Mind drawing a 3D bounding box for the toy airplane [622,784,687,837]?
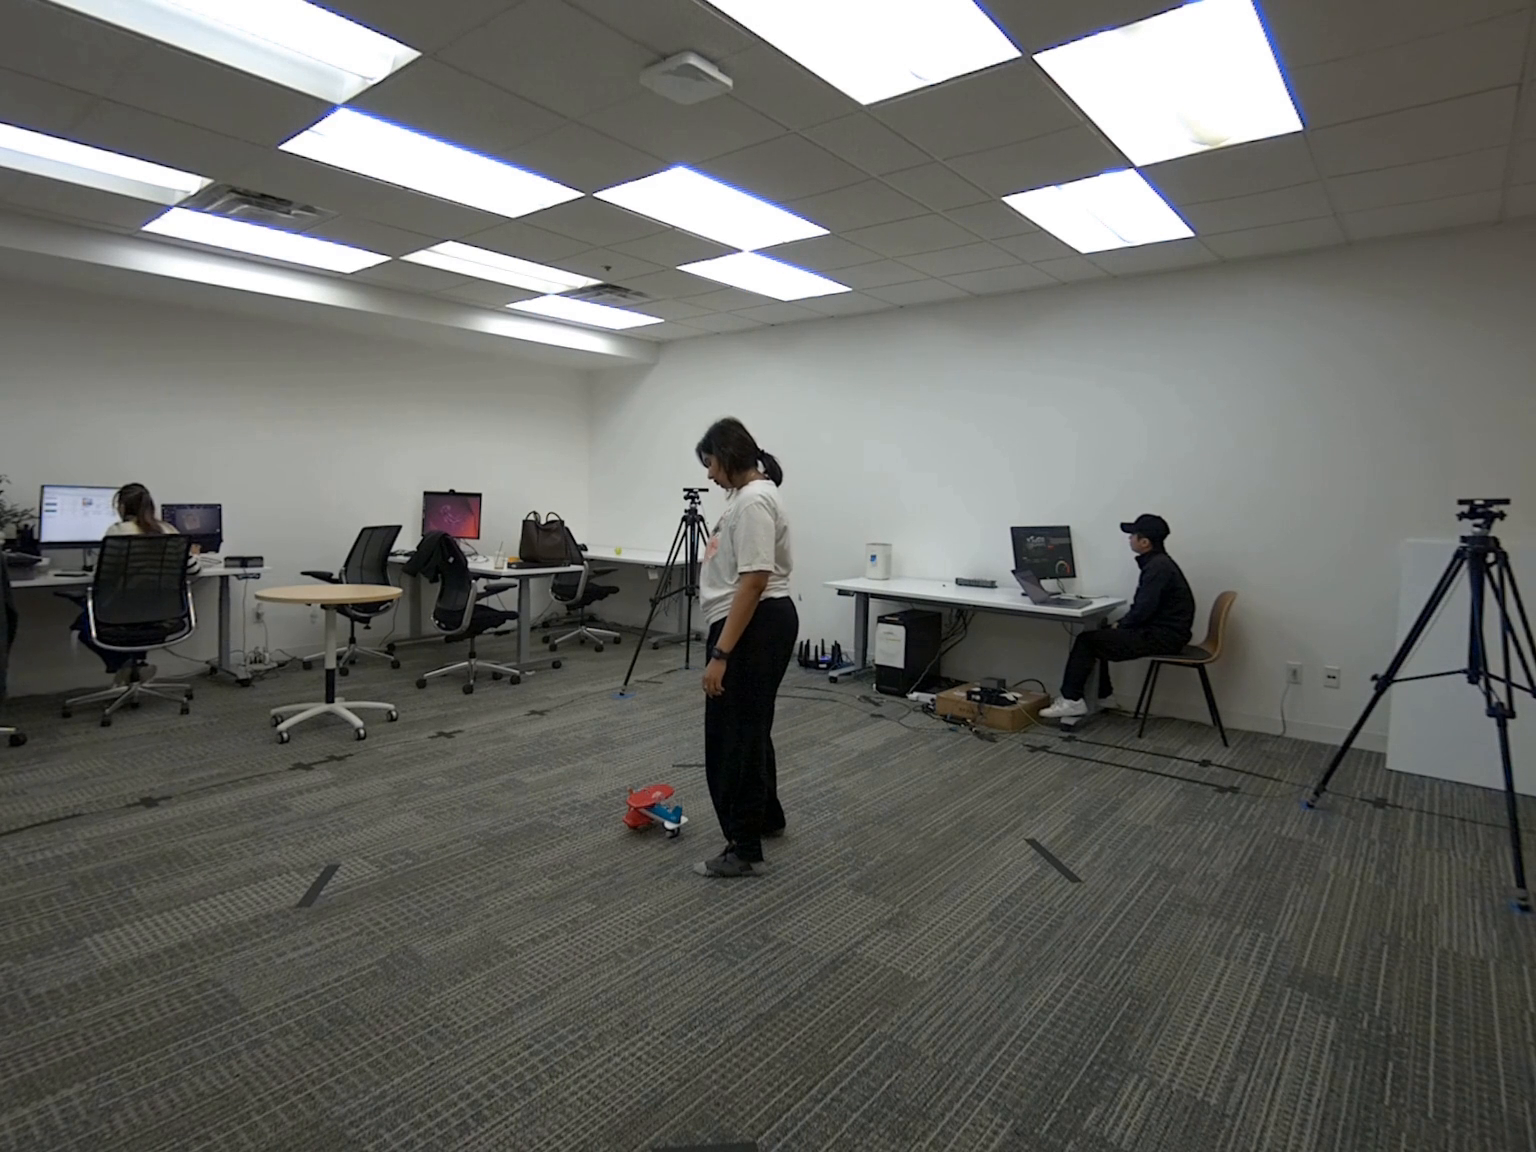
[{"bbox_3d":[-0.458,0.951,3.471,0.261,0.156,0.250,0,4,6],"label":"toy airplane"}]
